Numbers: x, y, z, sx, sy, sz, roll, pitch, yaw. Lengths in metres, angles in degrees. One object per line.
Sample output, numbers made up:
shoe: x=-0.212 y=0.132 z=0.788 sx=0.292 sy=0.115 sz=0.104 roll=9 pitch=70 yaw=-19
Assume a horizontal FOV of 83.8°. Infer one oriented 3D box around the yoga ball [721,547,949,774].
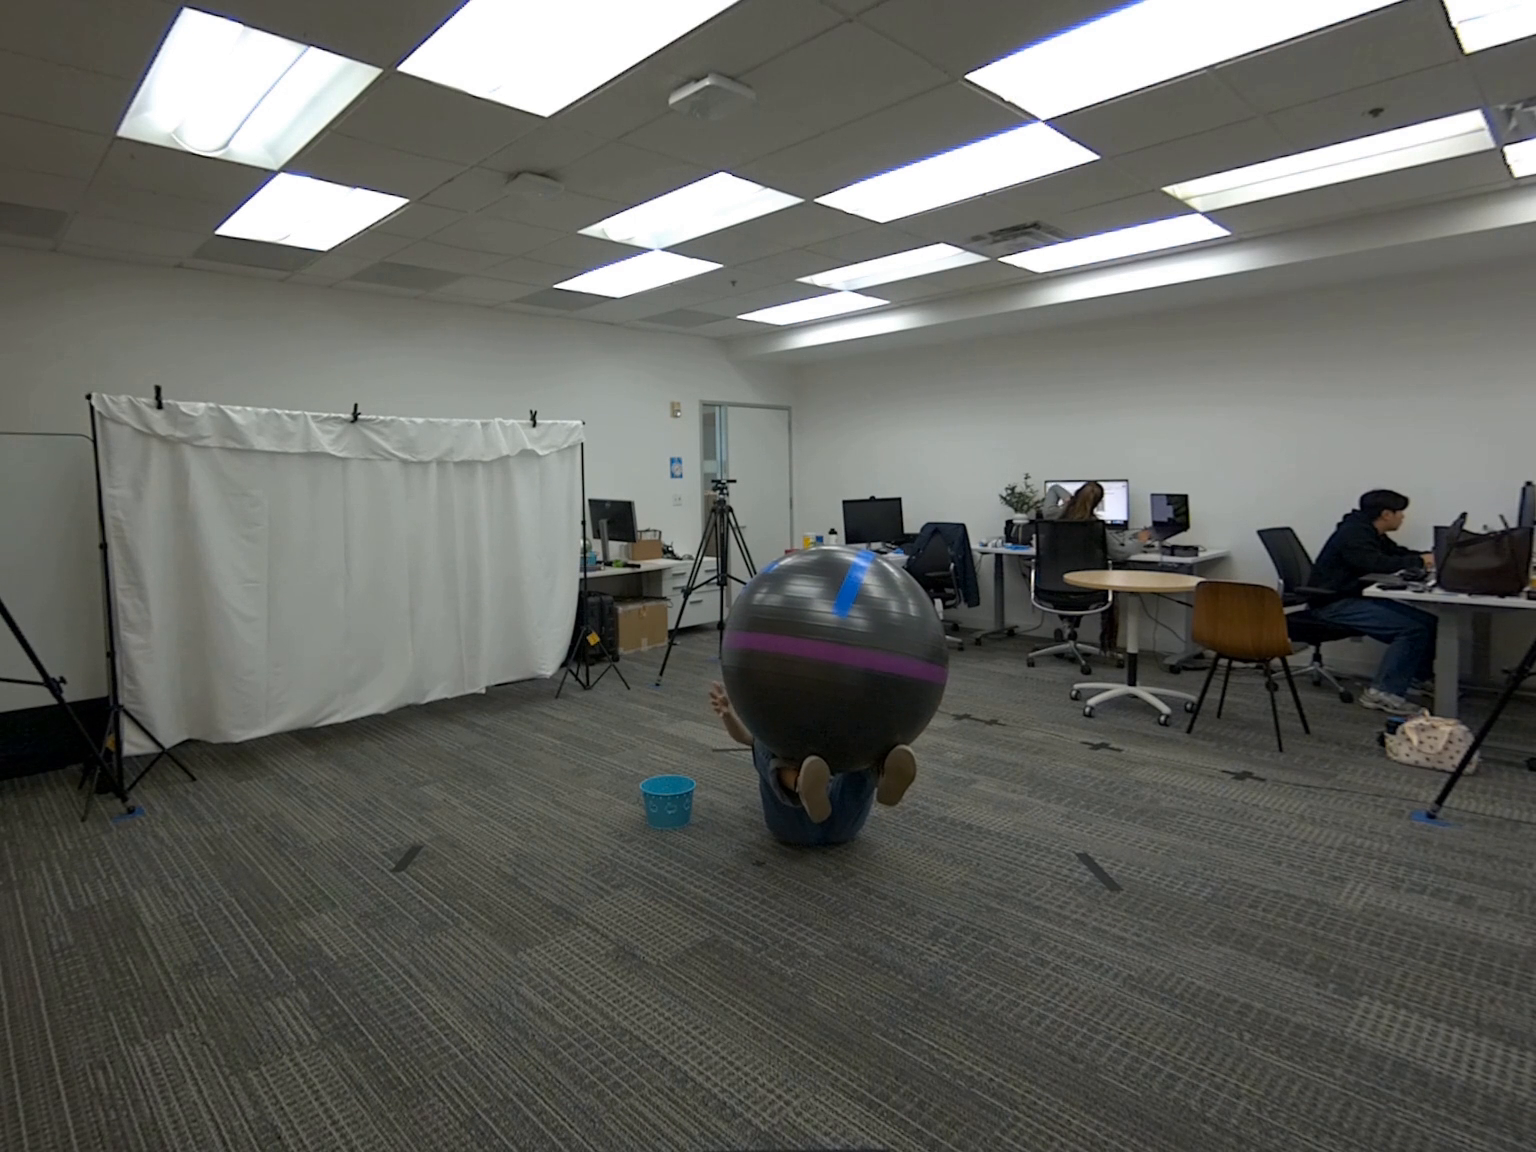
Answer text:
yoga ball: x=0.236 y=0.278 z=2.905 sx=0.757 sy=0.755 sz=0.762 roll=-1 pitch=5 yaw=-2
